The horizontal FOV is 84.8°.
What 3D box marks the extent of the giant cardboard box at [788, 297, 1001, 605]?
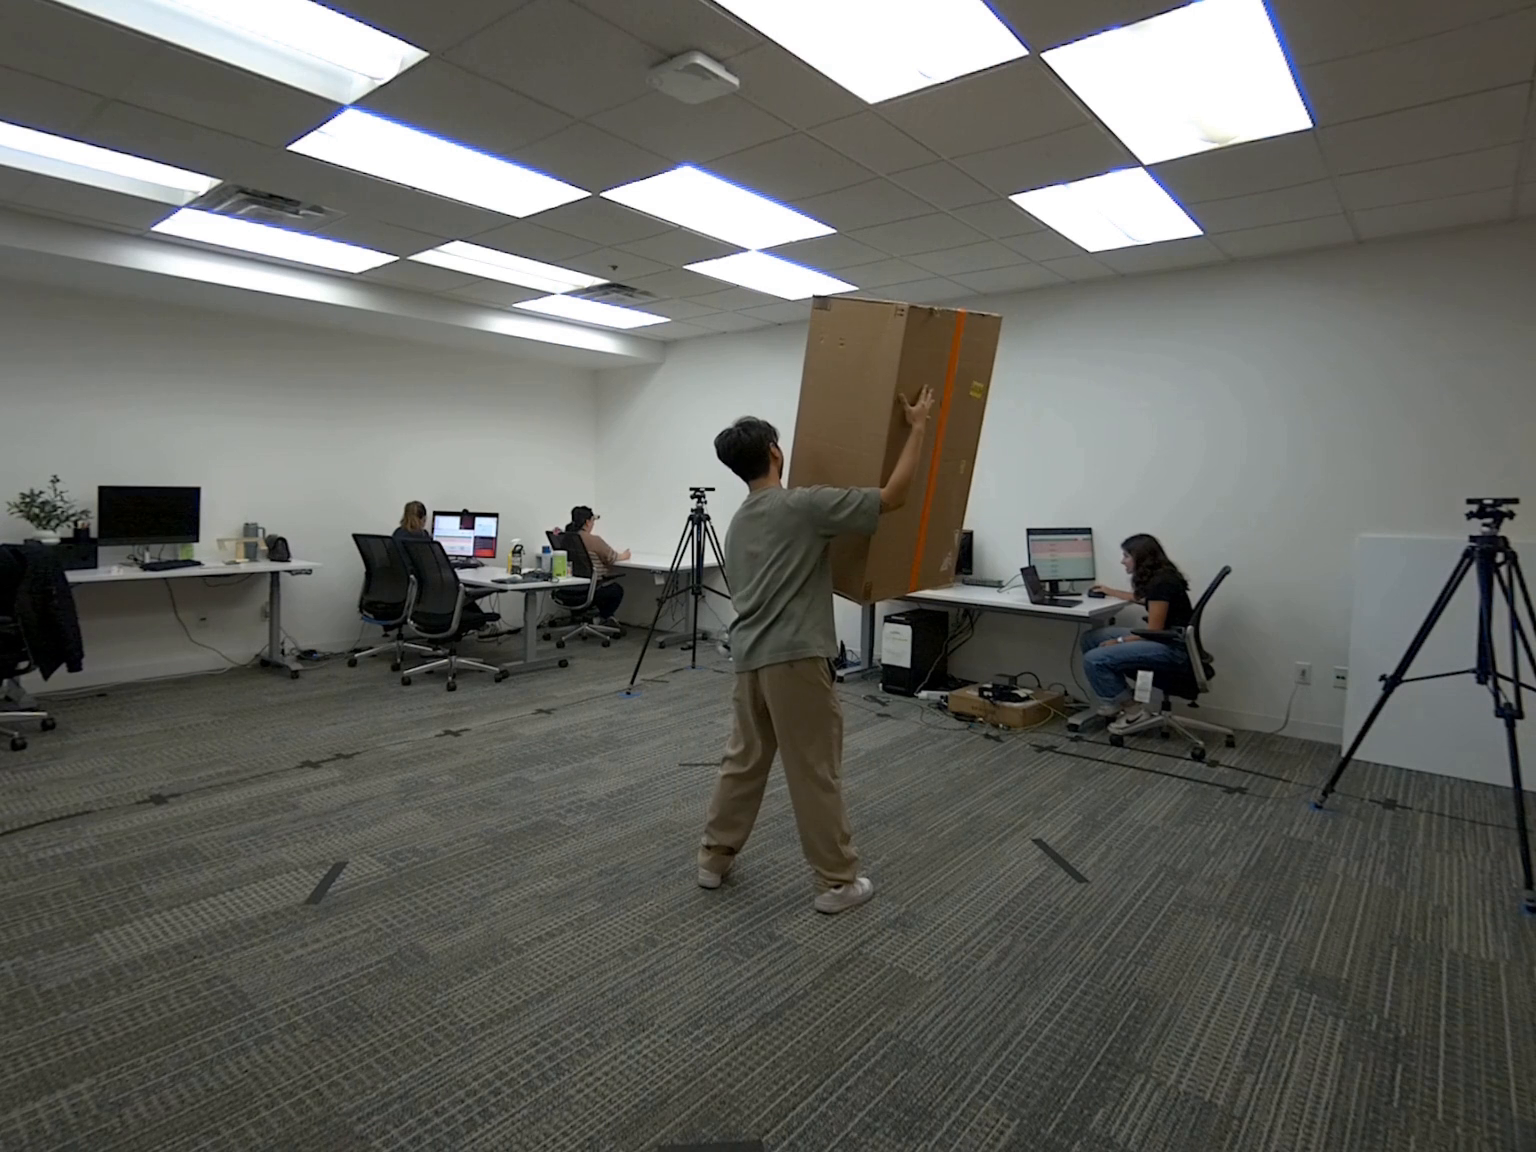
[{"bbox_3d":[0.432,-0.478,3.143,0.562,1.012,0.444,-9,22,-43],"label":"giant cardboard box"}]
